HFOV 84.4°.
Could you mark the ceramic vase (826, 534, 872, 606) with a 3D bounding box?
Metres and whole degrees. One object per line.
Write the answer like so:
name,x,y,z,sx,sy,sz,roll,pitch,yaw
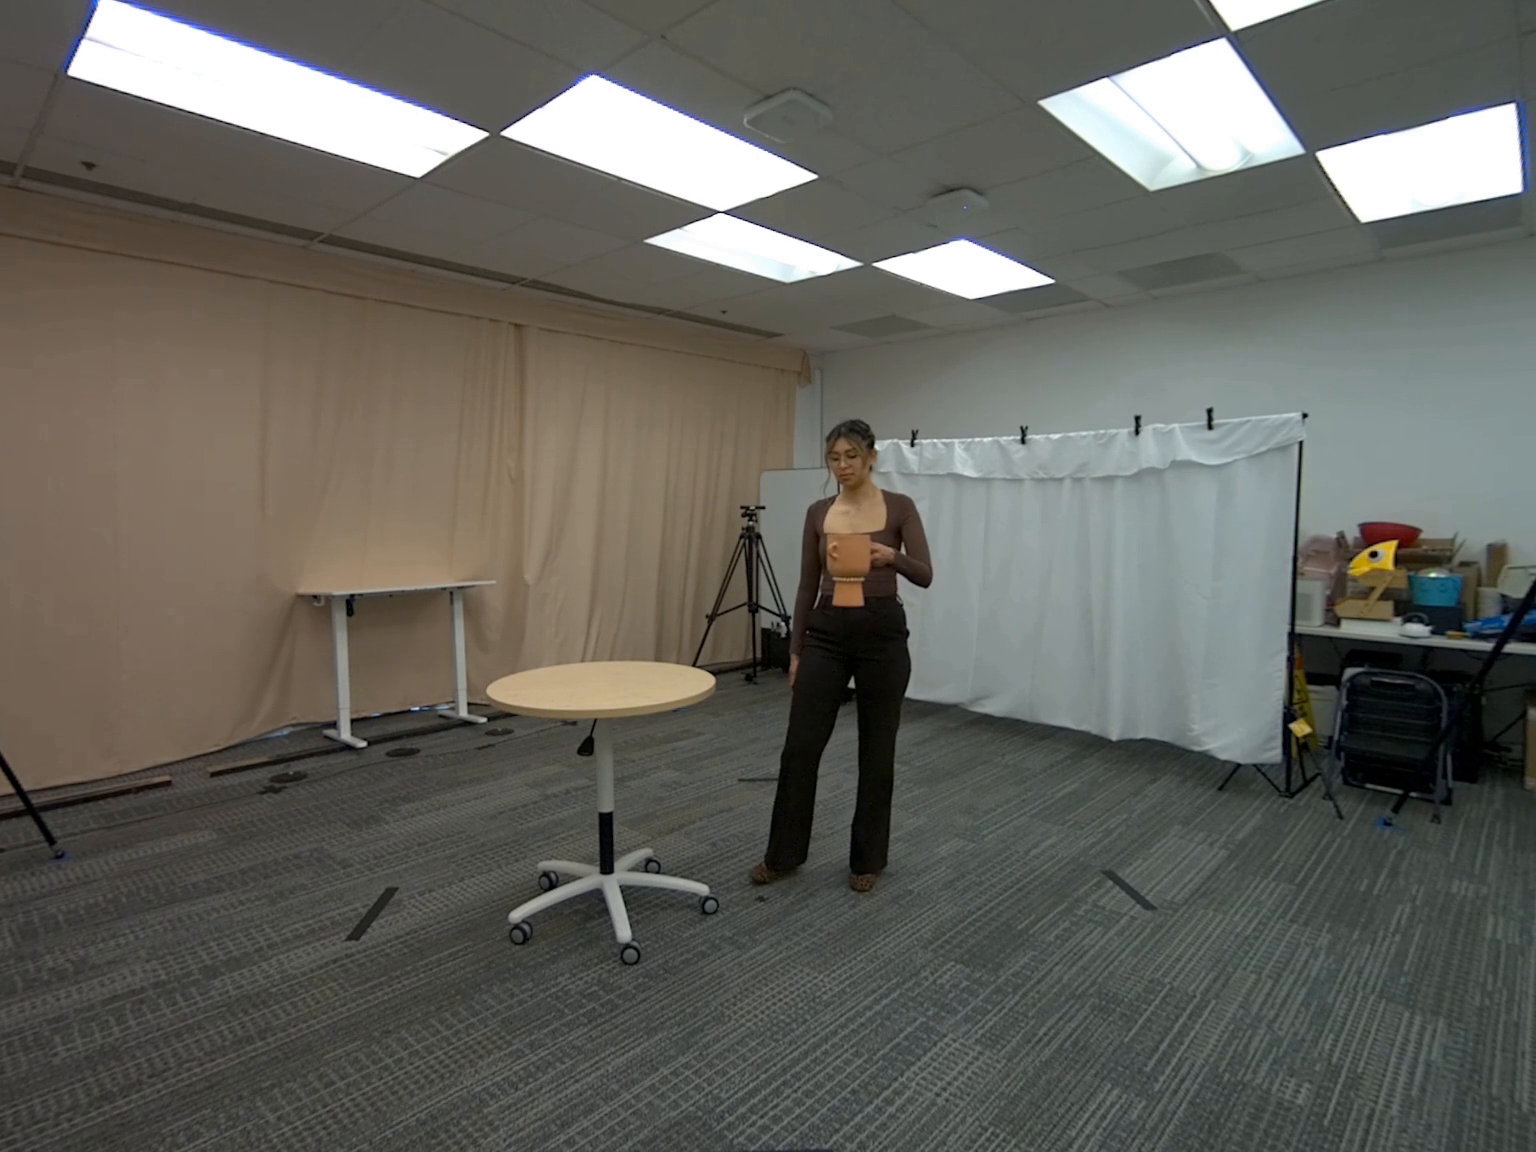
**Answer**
ceramic vase,0.249,-0.019,2.633,0.158,0.220,0.135,6,1,-5
